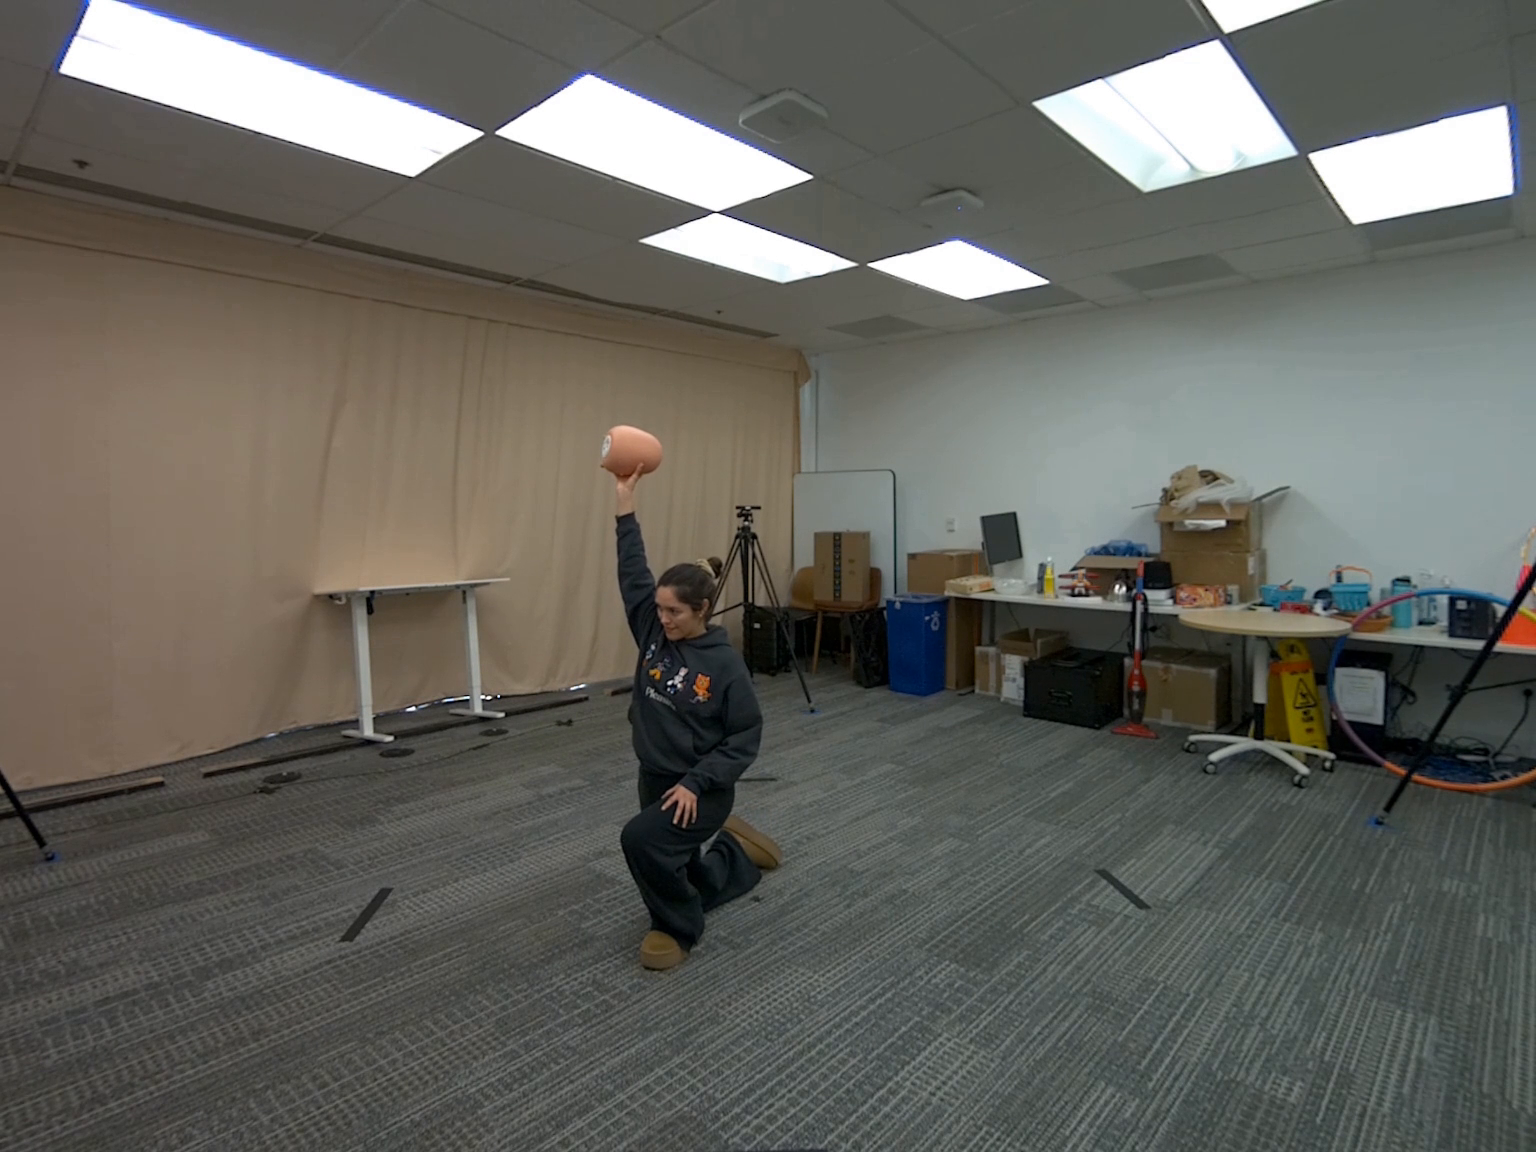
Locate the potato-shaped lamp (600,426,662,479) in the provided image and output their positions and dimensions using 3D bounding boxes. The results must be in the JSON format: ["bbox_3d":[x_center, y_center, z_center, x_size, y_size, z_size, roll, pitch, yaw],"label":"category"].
[{"bbox_3d":[-0.461,-0.424,2.889,0.193,0.166,0.174,9,-16,-25],"label":"potato-shaped lamp"}]
